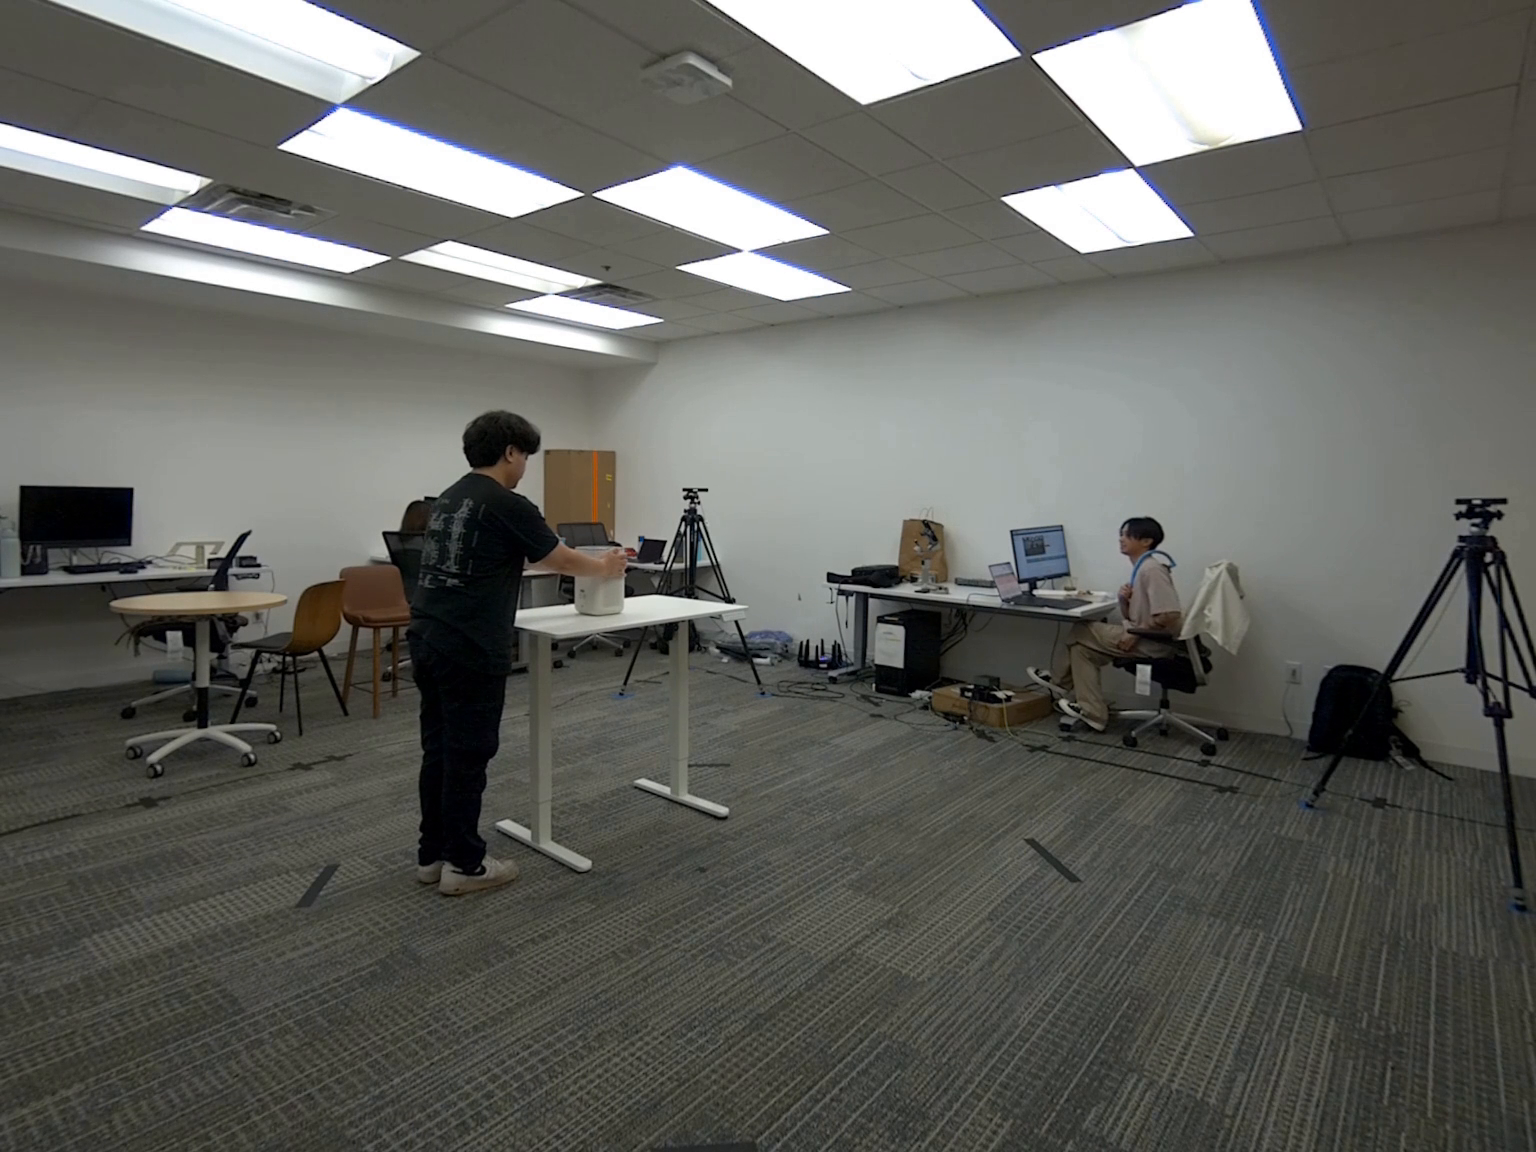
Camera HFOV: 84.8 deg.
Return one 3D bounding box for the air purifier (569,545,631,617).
[{"bbox_3d":[-0.687,0.014,3.423,0.177,0.264,0.167,2,5,41],"label":"air purifier"}]
